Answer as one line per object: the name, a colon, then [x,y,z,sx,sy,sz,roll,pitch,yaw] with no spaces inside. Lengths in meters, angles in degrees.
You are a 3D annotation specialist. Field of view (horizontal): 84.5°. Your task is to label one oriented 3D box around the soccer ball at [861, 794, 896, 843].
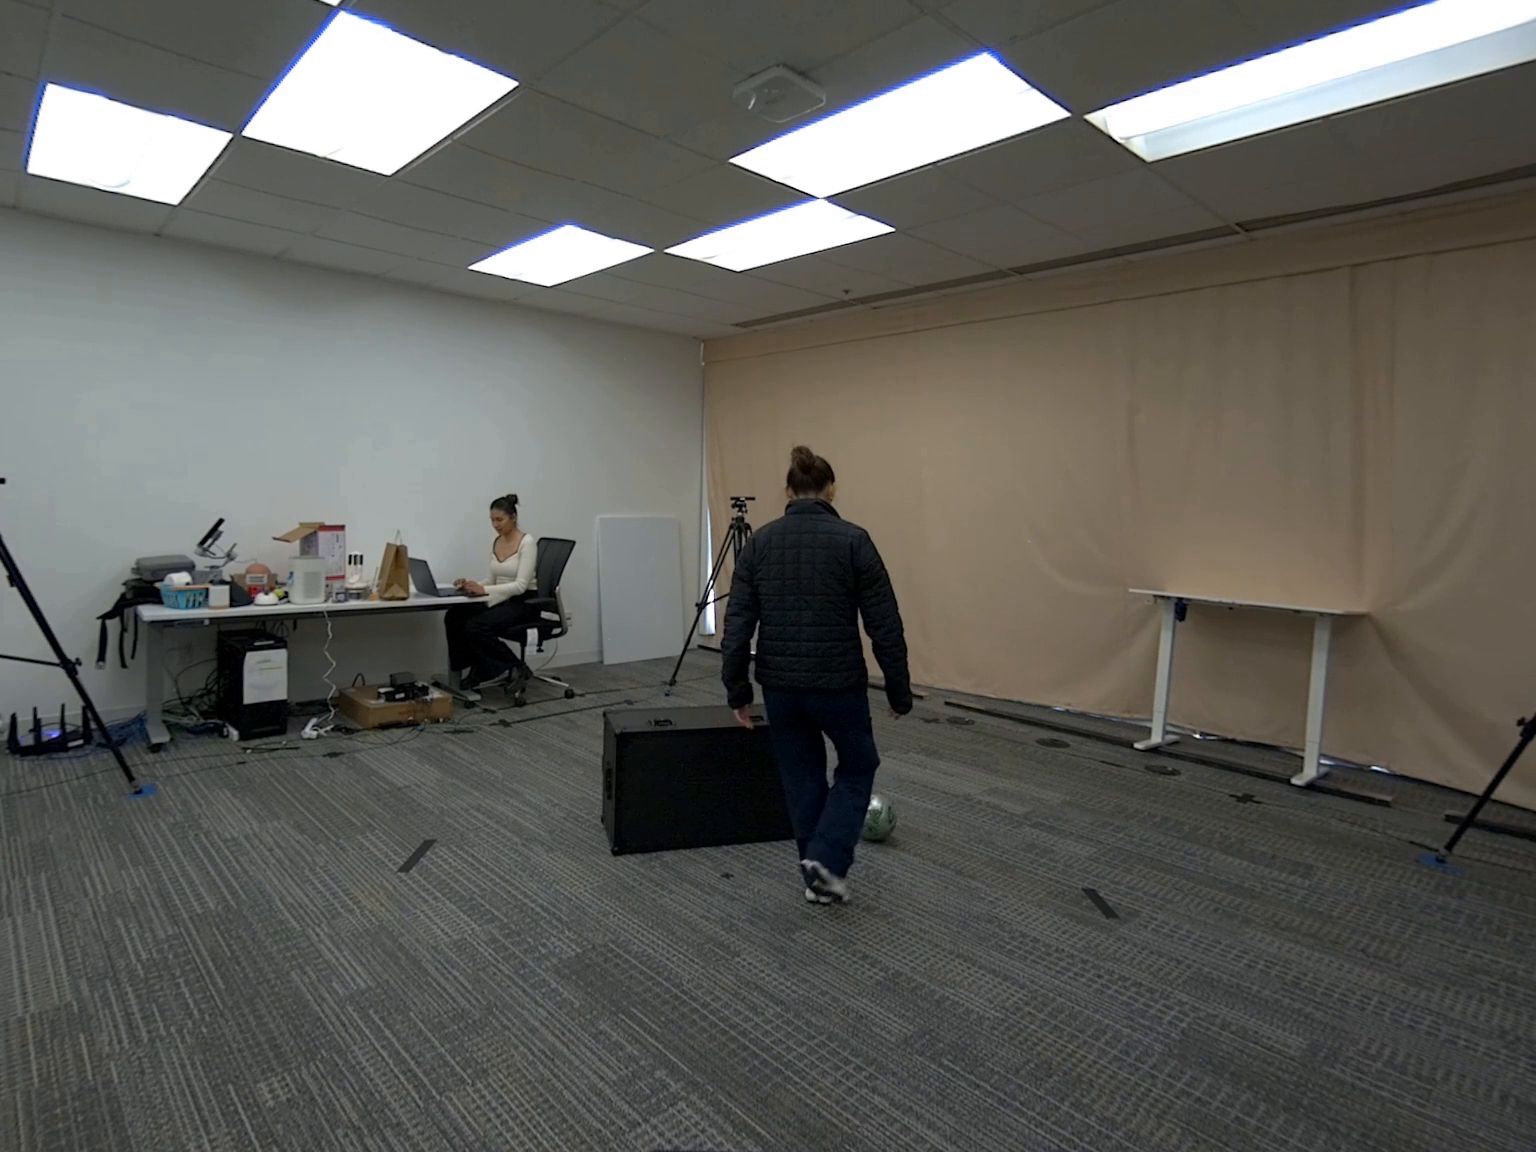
soccer ball: [0.427,0.994,3.476,0.187,0.187,0.188,1,4,-1]
